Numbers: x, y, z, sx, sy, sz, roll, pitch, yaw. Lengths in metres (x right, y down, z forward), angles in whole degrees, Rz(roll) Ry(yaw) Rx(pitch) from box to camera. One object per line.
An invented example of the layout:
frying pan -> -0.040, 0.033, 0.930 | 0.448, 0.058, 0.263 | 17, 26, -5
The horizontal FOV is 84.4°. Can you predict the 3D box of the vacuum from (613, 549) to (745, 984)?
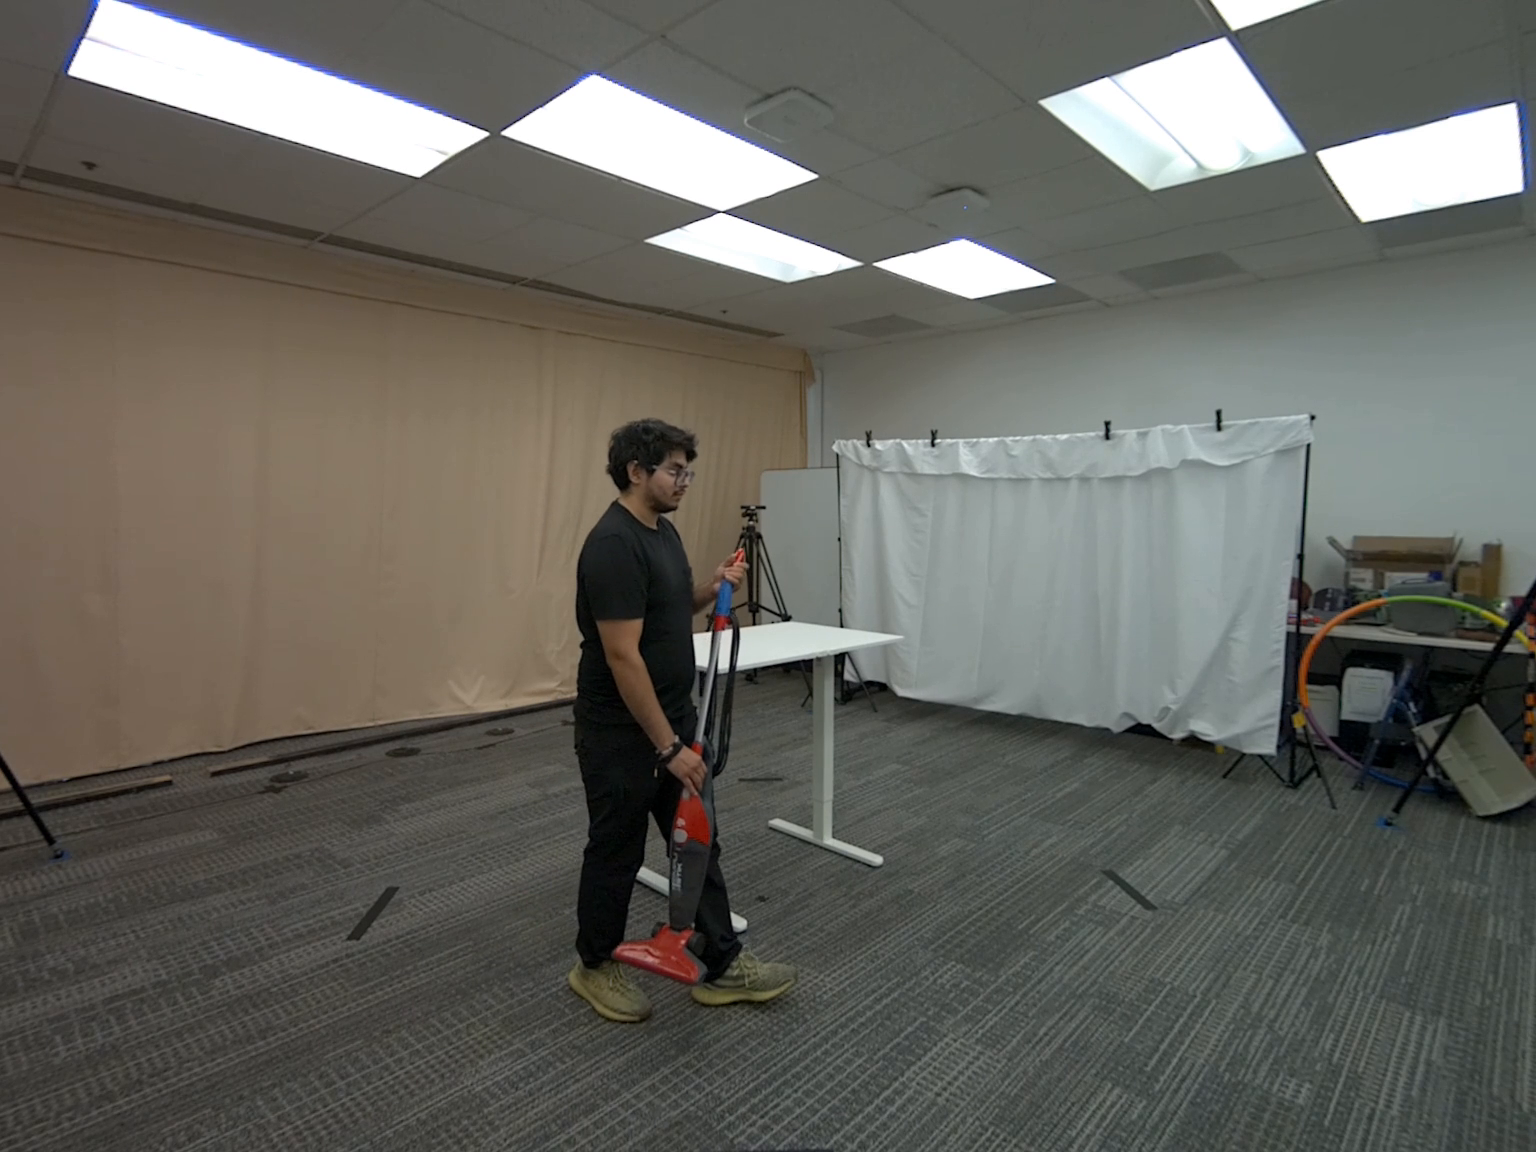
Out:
vacuum -> -0.158, 0.434, 2.214 | 0.260, 1.055, 0.139 | 0, -15, 32
